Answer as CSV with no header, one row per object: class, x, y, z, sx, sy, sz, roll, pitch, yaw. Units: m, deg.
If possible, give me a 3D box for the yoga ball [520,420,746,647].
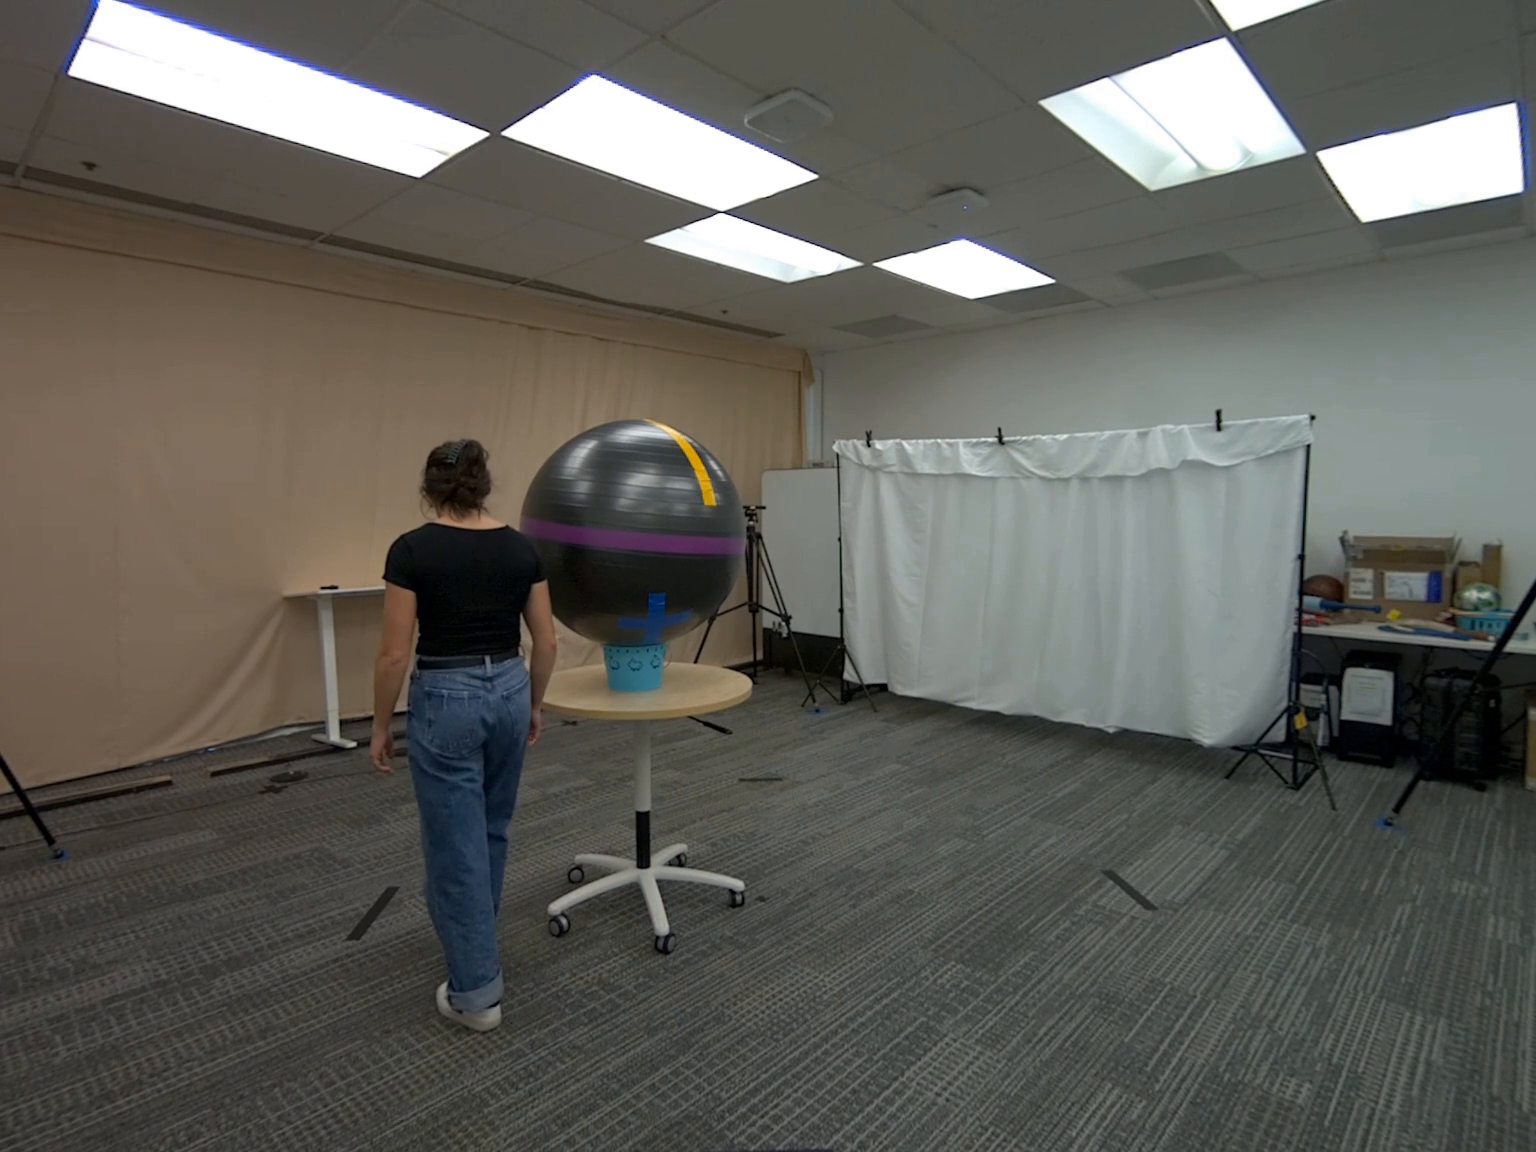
yoga ball,-0.469,-0.138,2.841,0.757,0.756,0.760,0,4,-2
